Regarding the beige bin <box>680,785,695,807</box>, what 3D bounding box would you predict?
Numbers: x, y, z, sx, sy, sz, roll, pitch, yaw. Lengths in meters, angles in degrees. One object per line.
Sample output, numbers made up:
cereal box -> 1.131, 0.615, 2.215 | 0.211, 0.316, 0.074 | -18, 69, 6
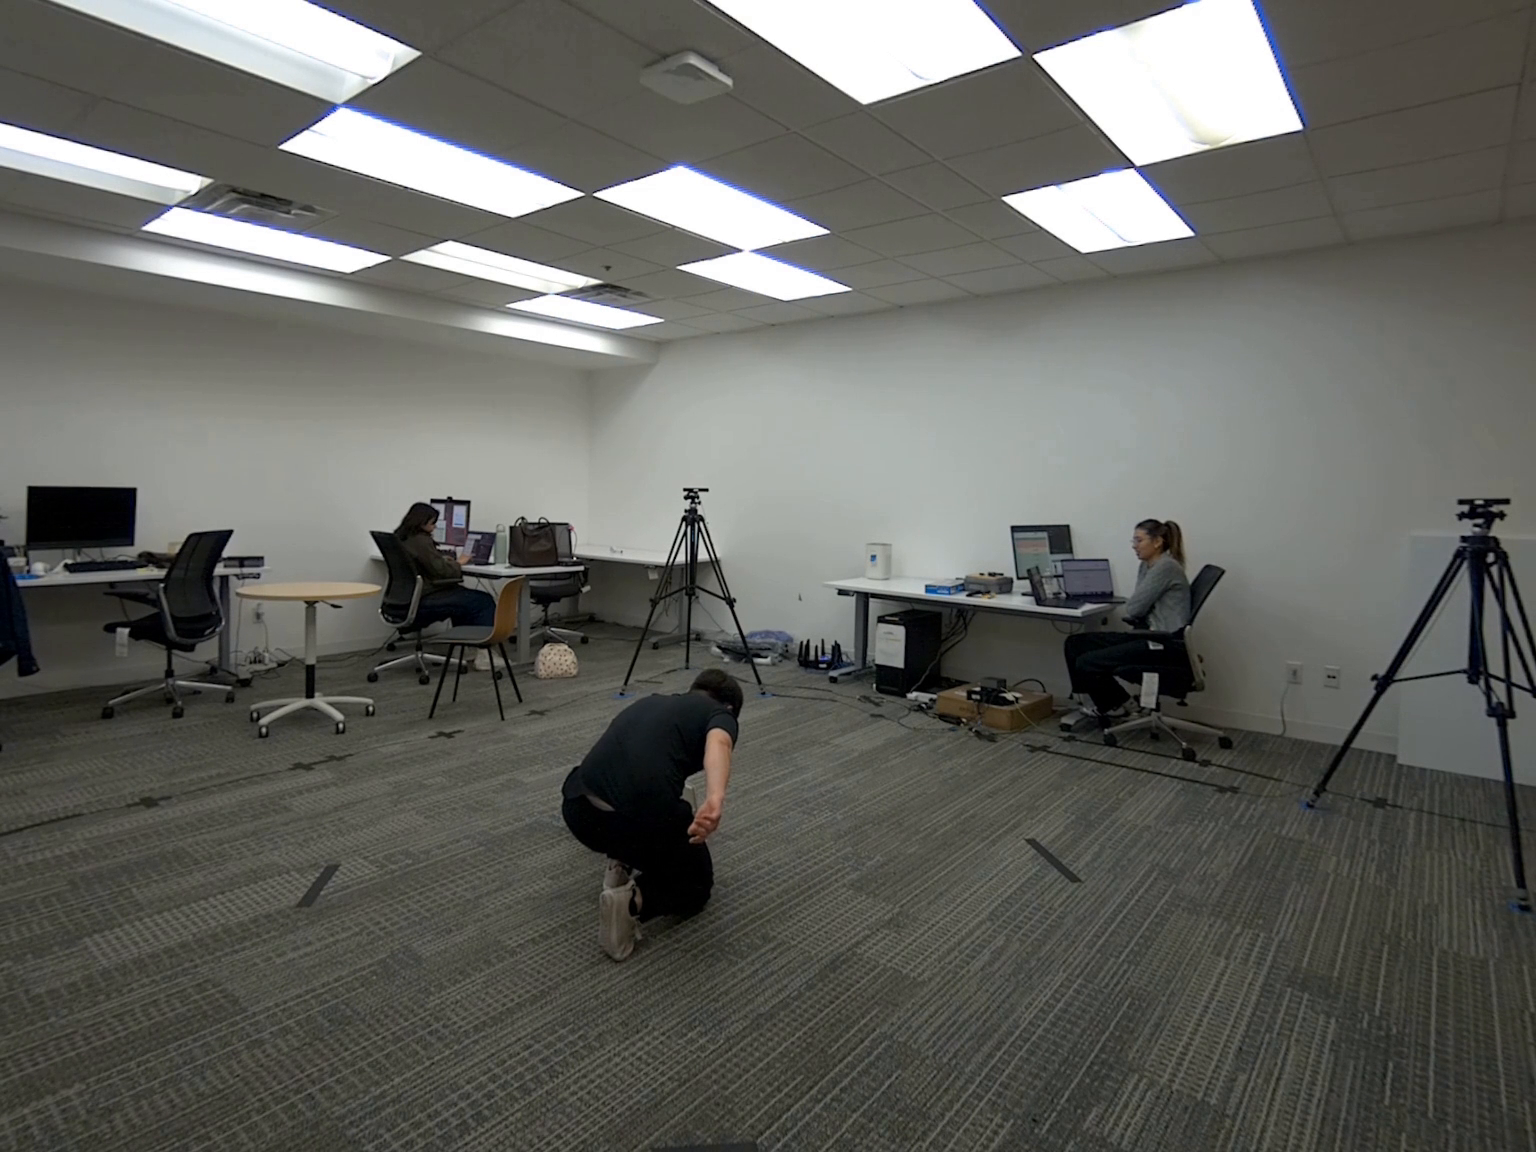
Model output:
beige bin -> -0.568, 0.932, 3.479 | 0.410, 0.188, 0.390 | -4, 6, -37
